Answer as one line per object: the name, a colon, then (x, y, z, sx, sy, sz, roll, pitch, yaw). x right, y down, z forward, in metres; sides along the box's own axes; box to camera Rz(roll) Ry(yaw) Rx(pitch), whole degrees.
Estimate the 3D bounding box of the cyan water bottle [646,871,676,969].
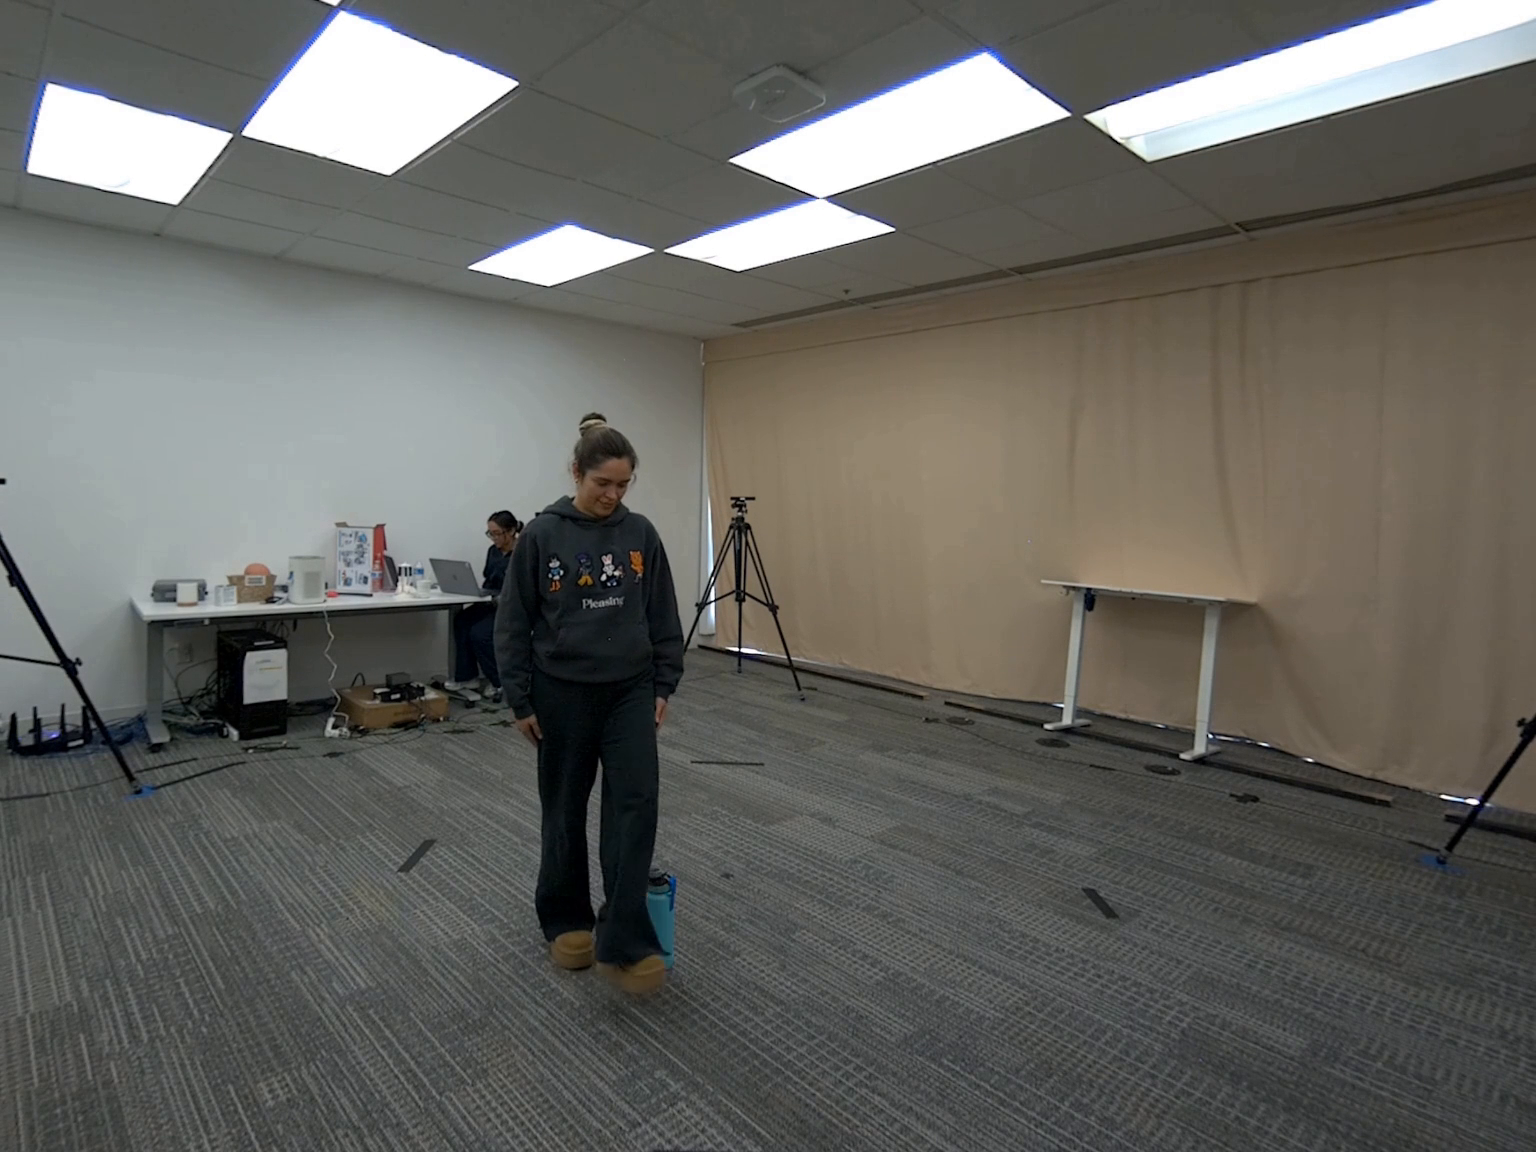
cyan water bottle: (-0.328, 1.025, 2.486, 0.092, 0.283, 0.092, 3, 2, -2)
